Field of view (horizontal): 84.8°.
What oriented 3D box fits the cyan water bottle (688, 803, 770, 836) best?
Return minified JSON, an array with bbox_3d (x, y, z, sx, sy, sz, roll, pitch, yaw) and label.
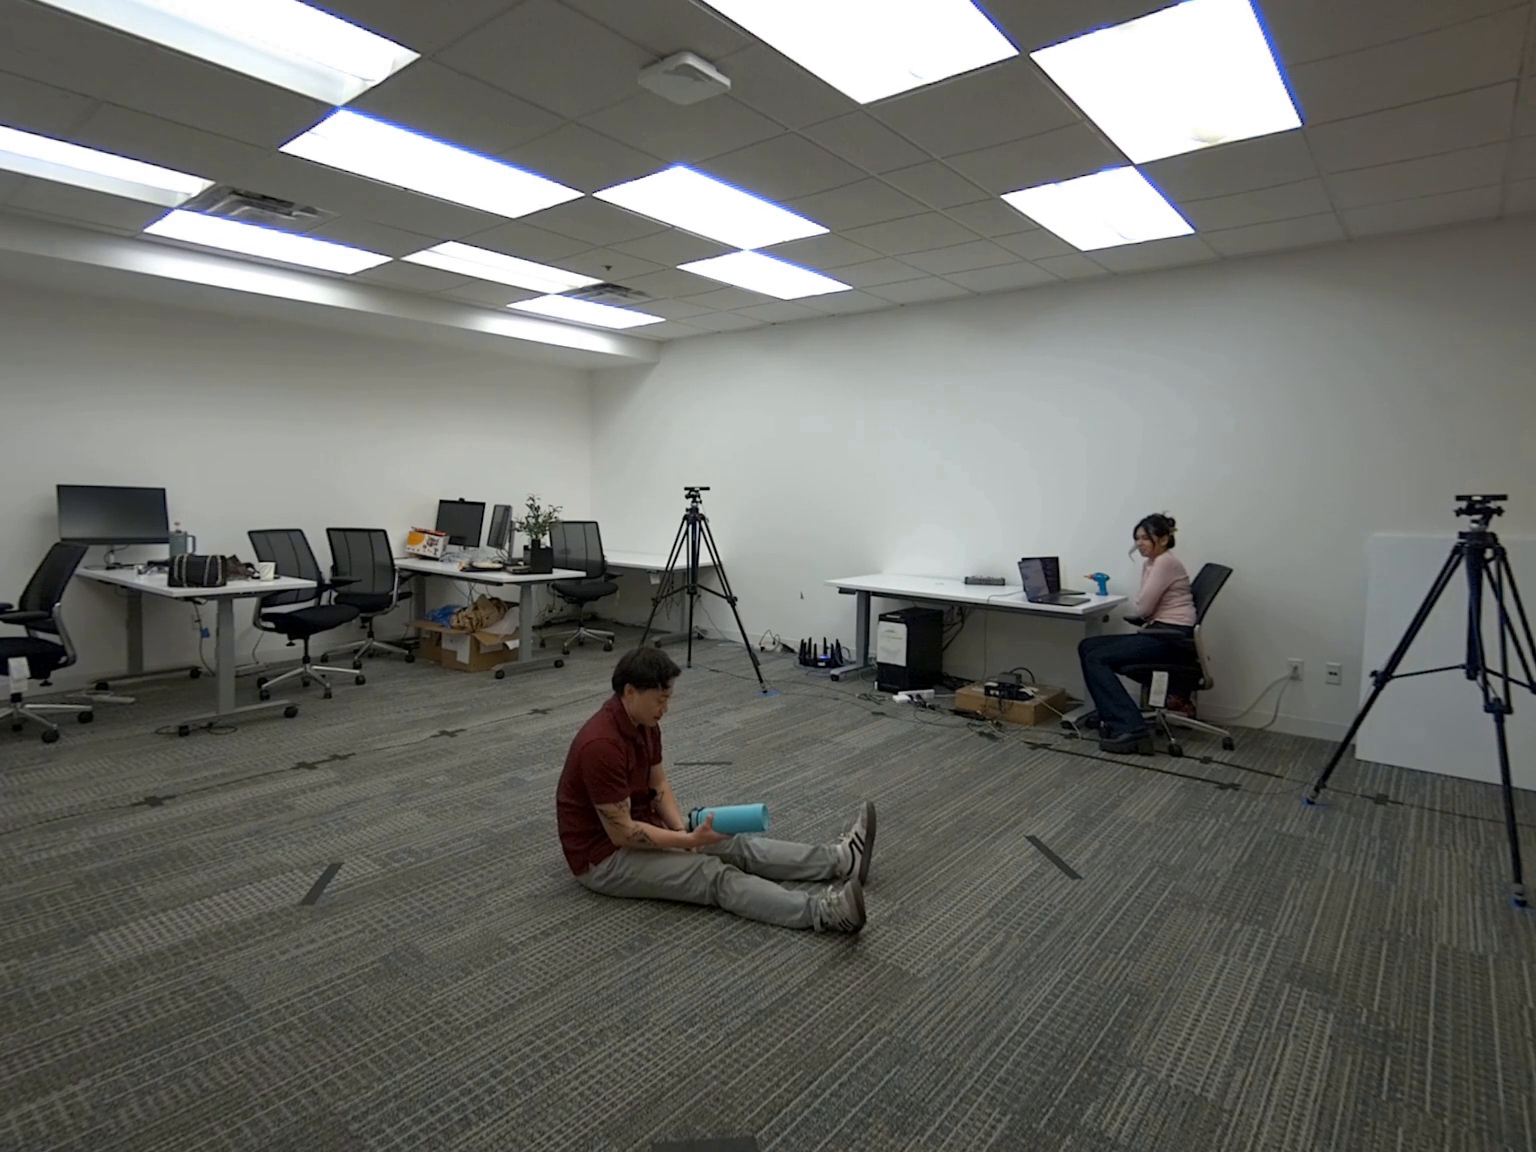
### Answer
[{"bbox_3d":[-0.150,0.828,2.888,0.287,0.092,0.091,-9,1,16],"label":"cyan water bottle"}]
